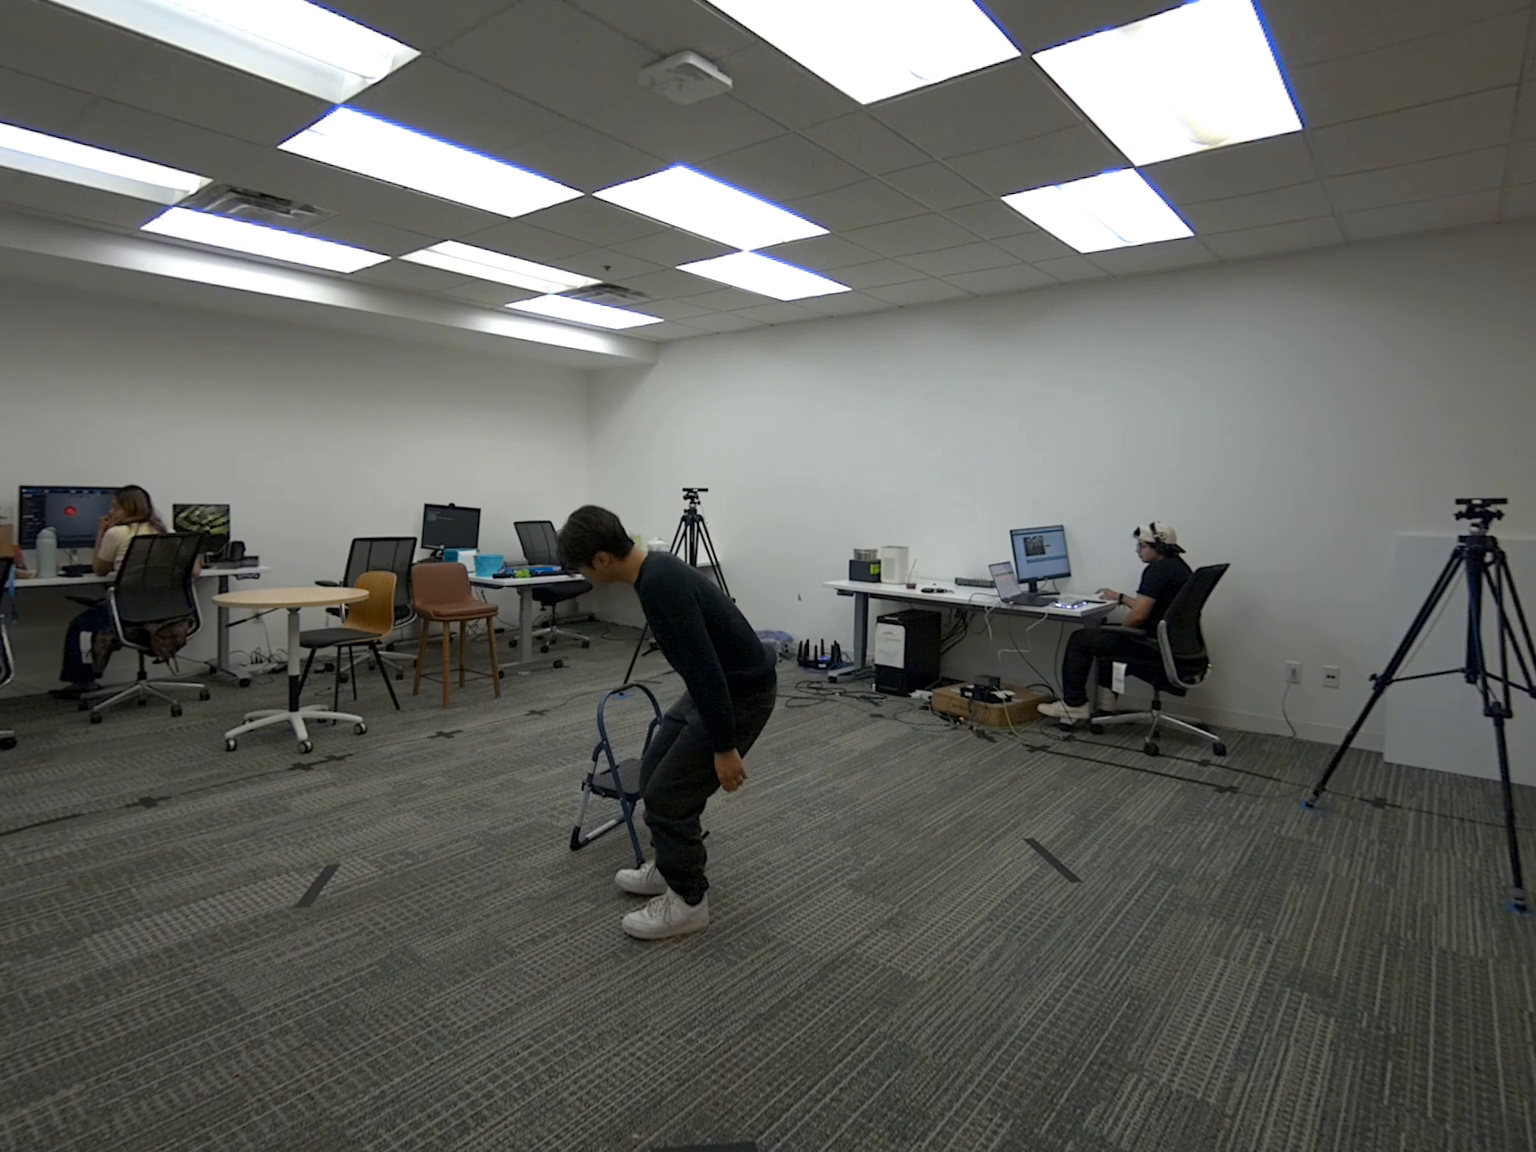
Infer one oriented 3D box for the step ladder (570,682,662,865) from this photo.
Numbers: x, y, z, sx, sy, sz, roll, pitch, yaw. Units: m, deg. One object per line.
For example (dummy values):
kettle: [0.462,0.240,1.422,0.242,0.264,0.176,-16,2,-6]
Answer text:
step ladder: [-0.524,0.737,3.342,0.358,0.604,0.421,3,3,25]
